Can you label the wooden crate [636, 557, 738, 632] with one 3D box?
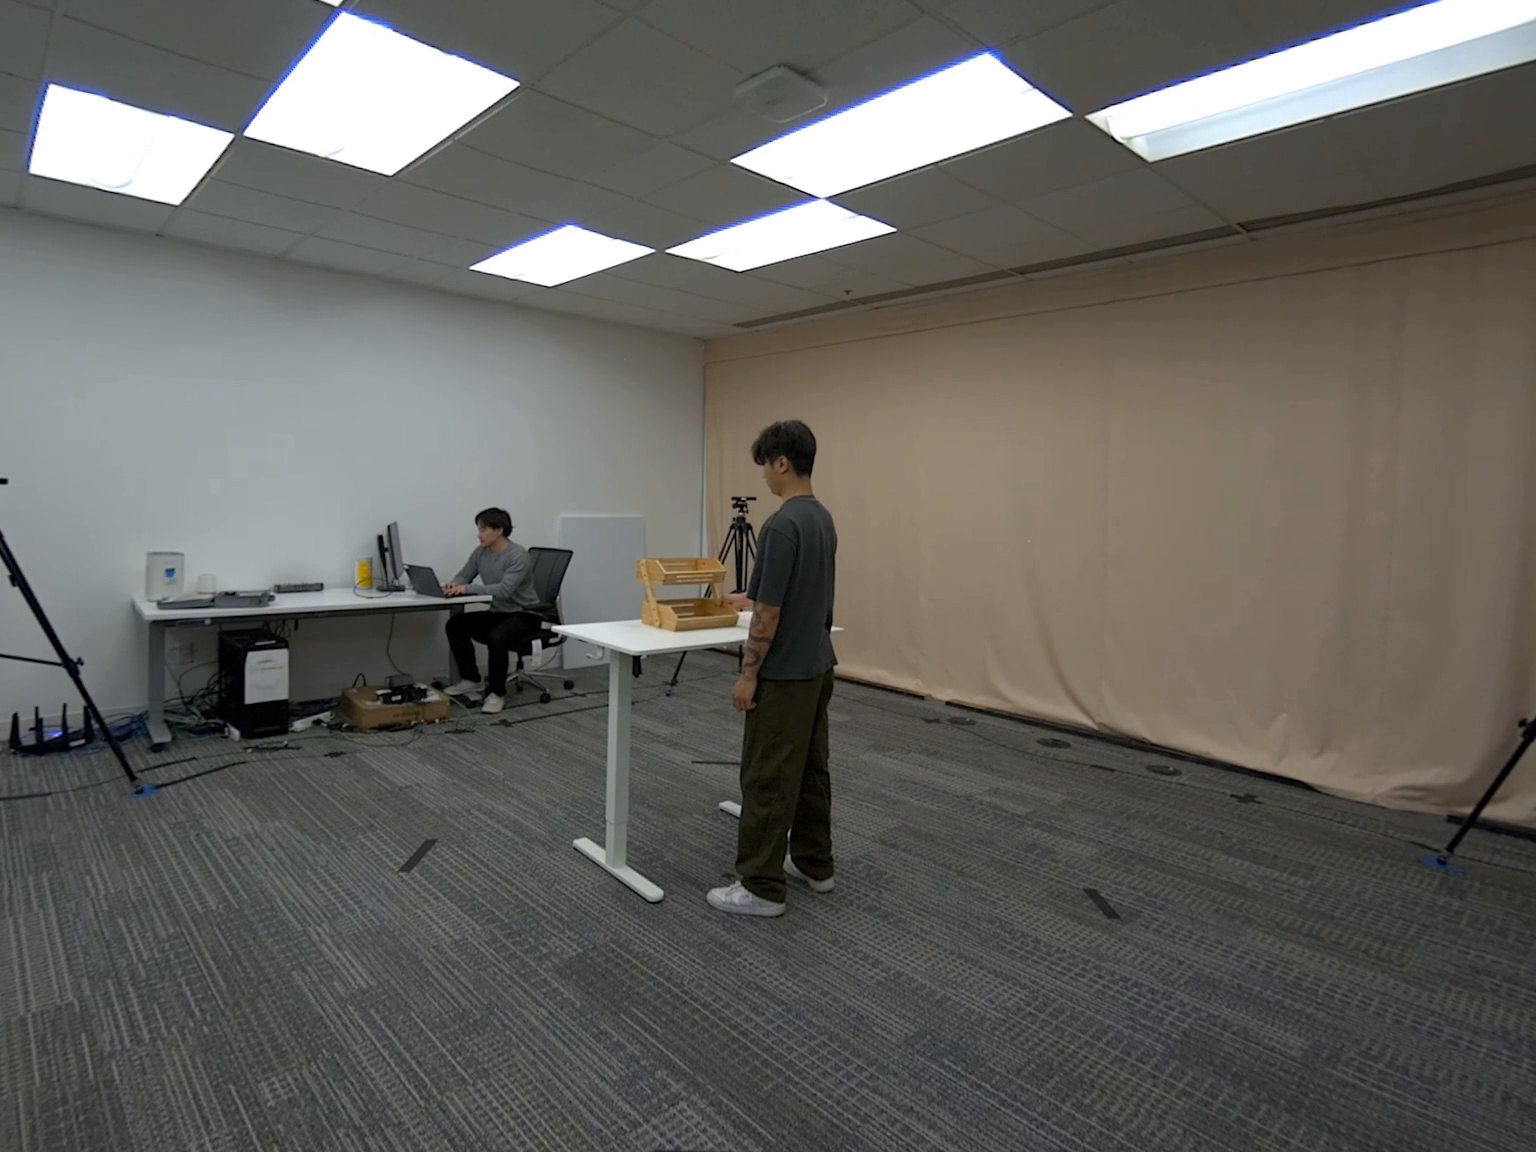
[{"bbox_3d":[-0.330,0.062,3.375,0.317,0.273,0.309,-1,4,-40],"label":"wooden crate"}]
